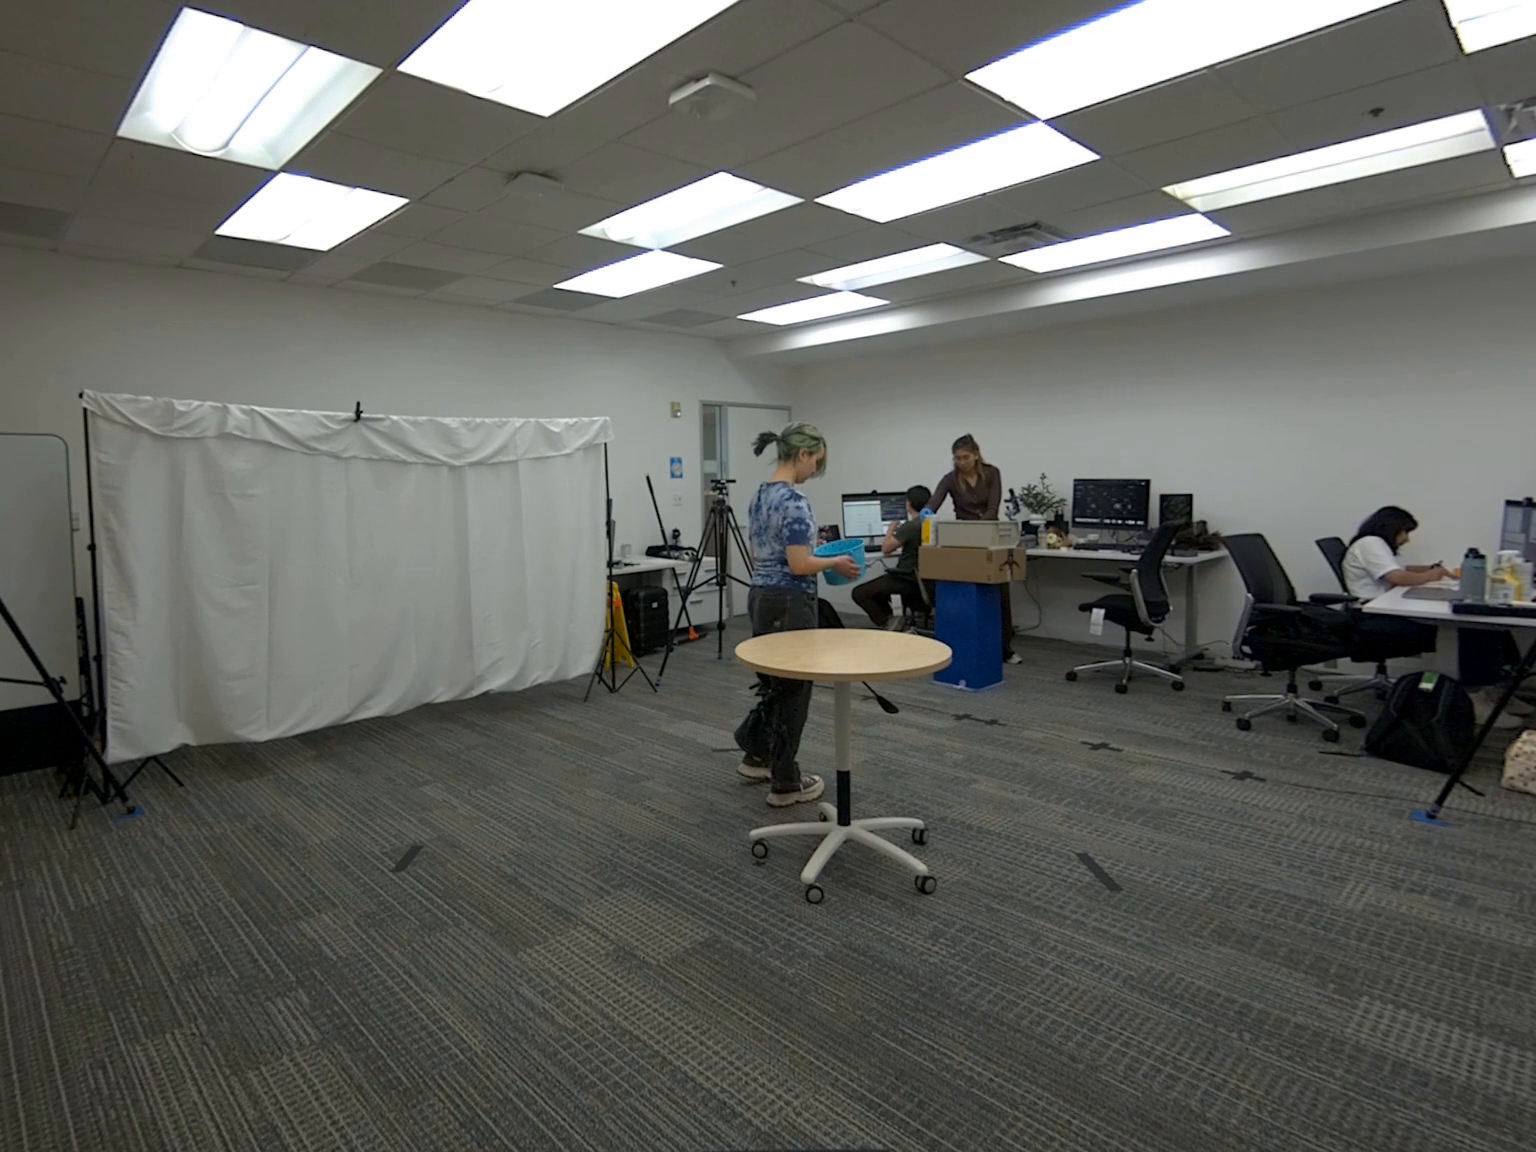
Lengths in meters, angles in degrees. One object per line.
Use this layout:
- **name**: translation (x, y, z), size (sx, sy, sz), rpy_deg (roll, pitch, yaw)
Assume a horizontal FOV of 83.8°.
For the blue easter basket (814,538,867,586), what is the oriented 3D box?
- **blue easter basket**: translation (0.332, -0.055, 3.818), size (0.244, 0.154, 0.246), rpy_deg (-12, 12, 1)
